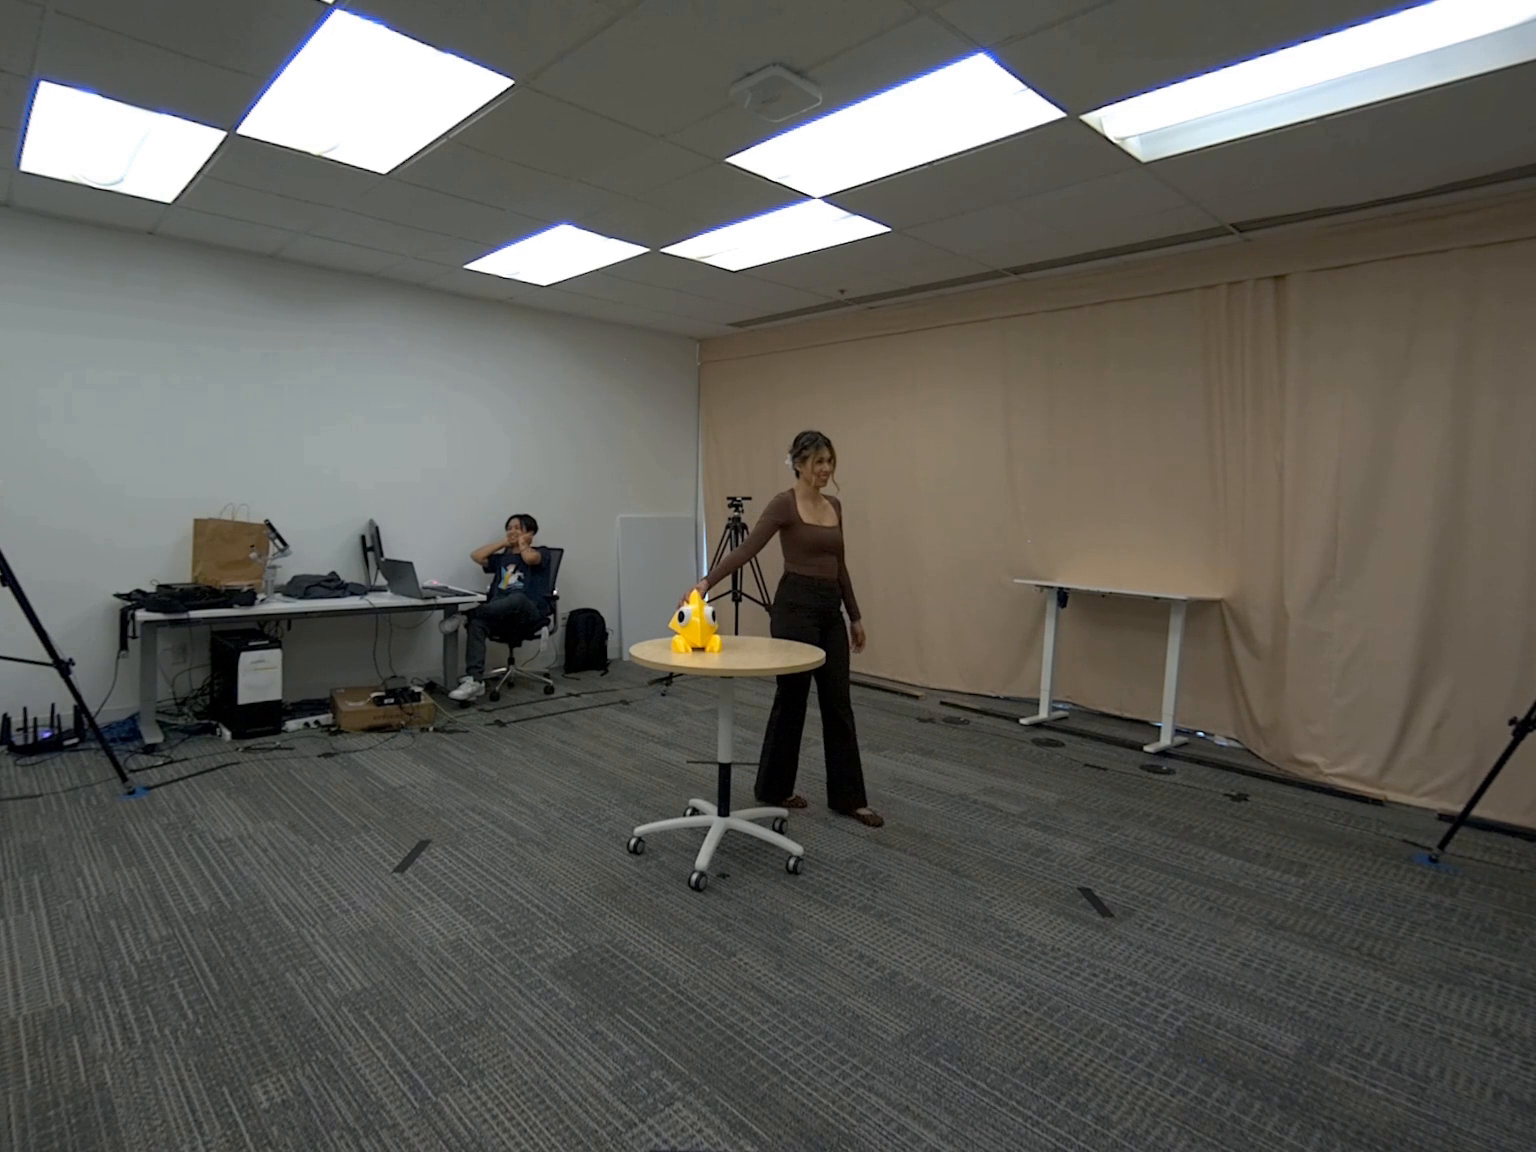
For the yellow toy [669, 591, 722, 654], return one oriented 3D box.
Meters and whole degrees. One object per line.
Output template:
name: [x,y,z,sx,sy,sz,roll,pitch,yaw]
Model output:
yellow toy: [-0.284,0.174,3.308,0.203,0.230,0.195,1,3,-12]
